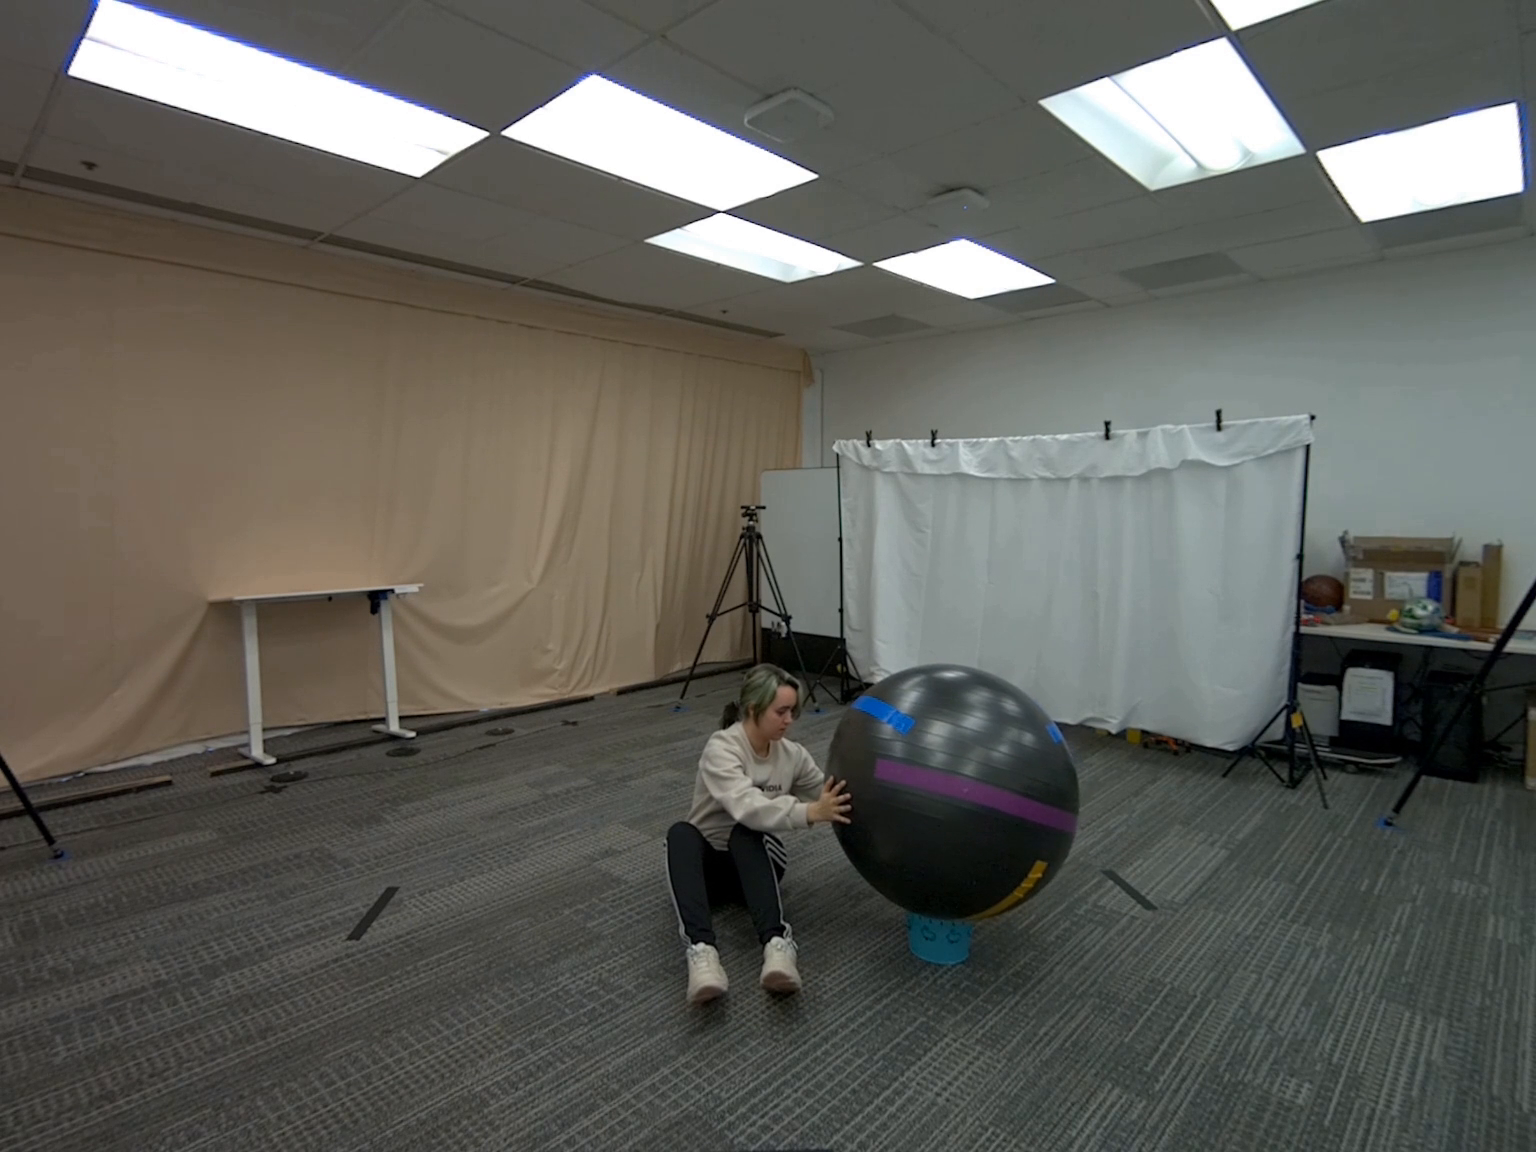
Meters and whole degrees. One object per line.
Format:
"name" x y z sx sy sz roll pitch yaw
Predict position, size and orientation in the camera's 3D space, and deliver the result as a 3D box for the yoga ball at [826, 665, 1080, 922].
"yoga ball" 0.555 0.664 2.614 0.757 0.756 0.761 0 4 -2
